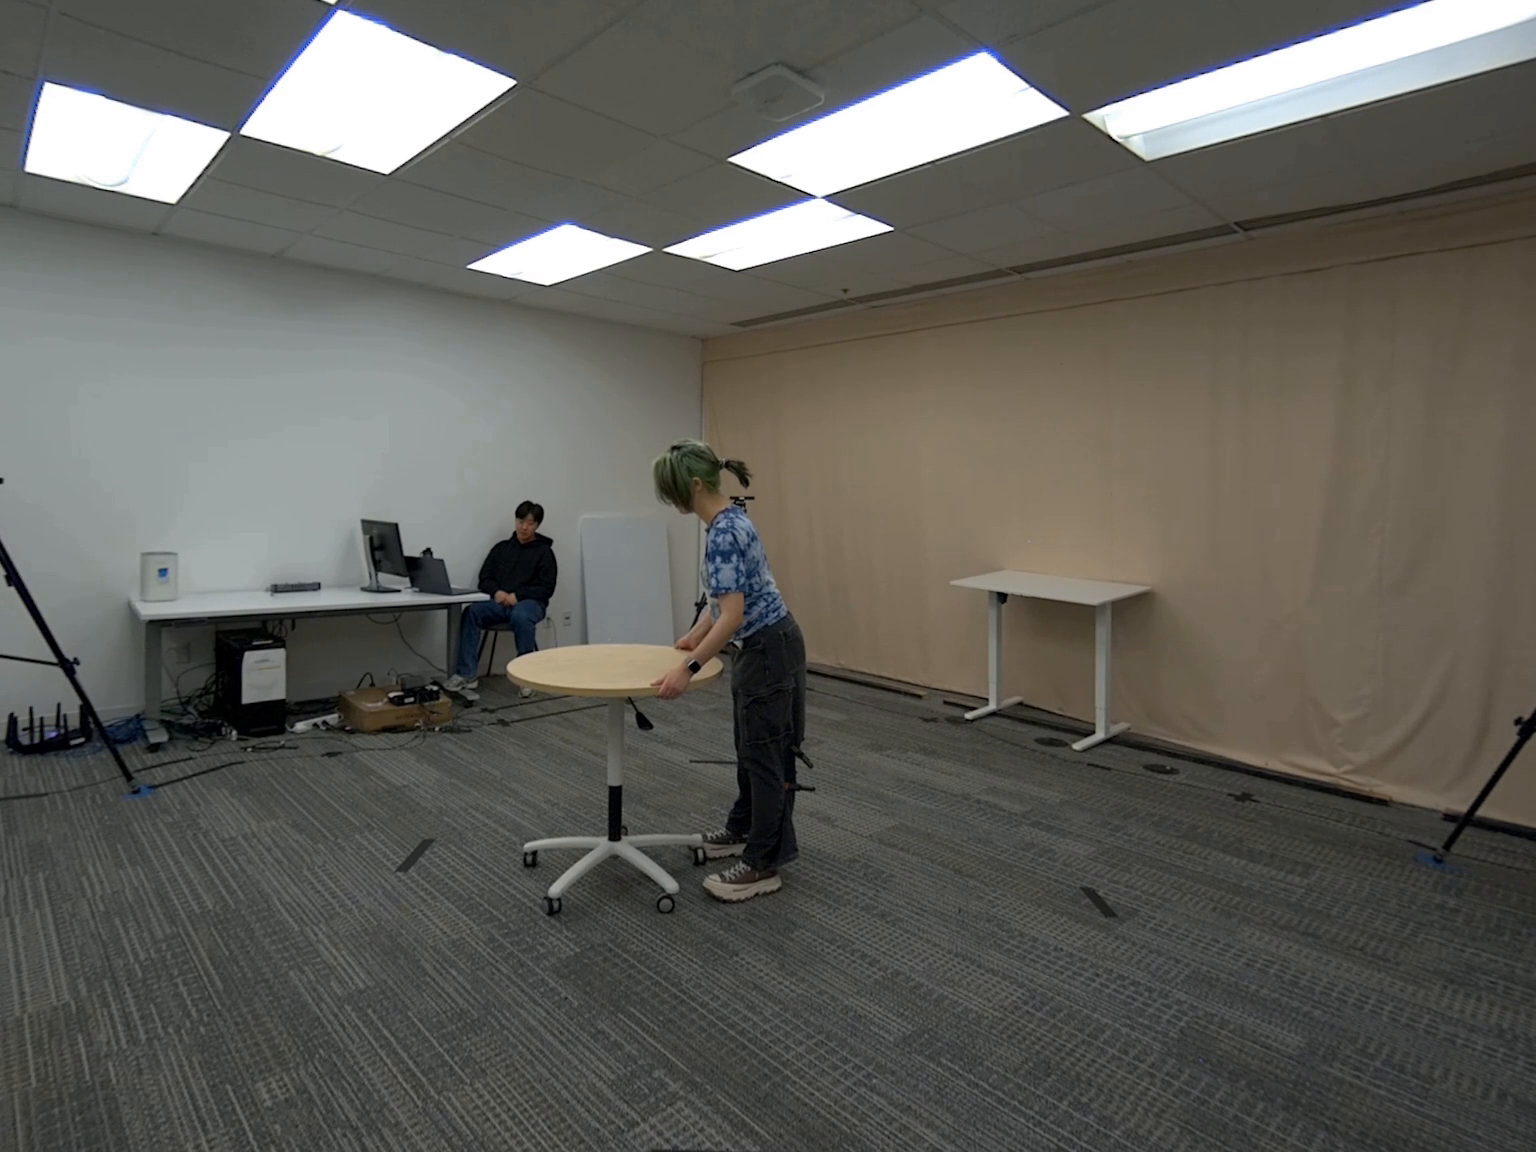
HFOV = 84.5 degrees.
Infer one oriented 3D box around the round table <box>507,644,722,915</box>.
[{"bbox_3d":[-0.556,0.709,3.043,0.763,0.791,0.767,1,5,-1],"label":"round table"}]
